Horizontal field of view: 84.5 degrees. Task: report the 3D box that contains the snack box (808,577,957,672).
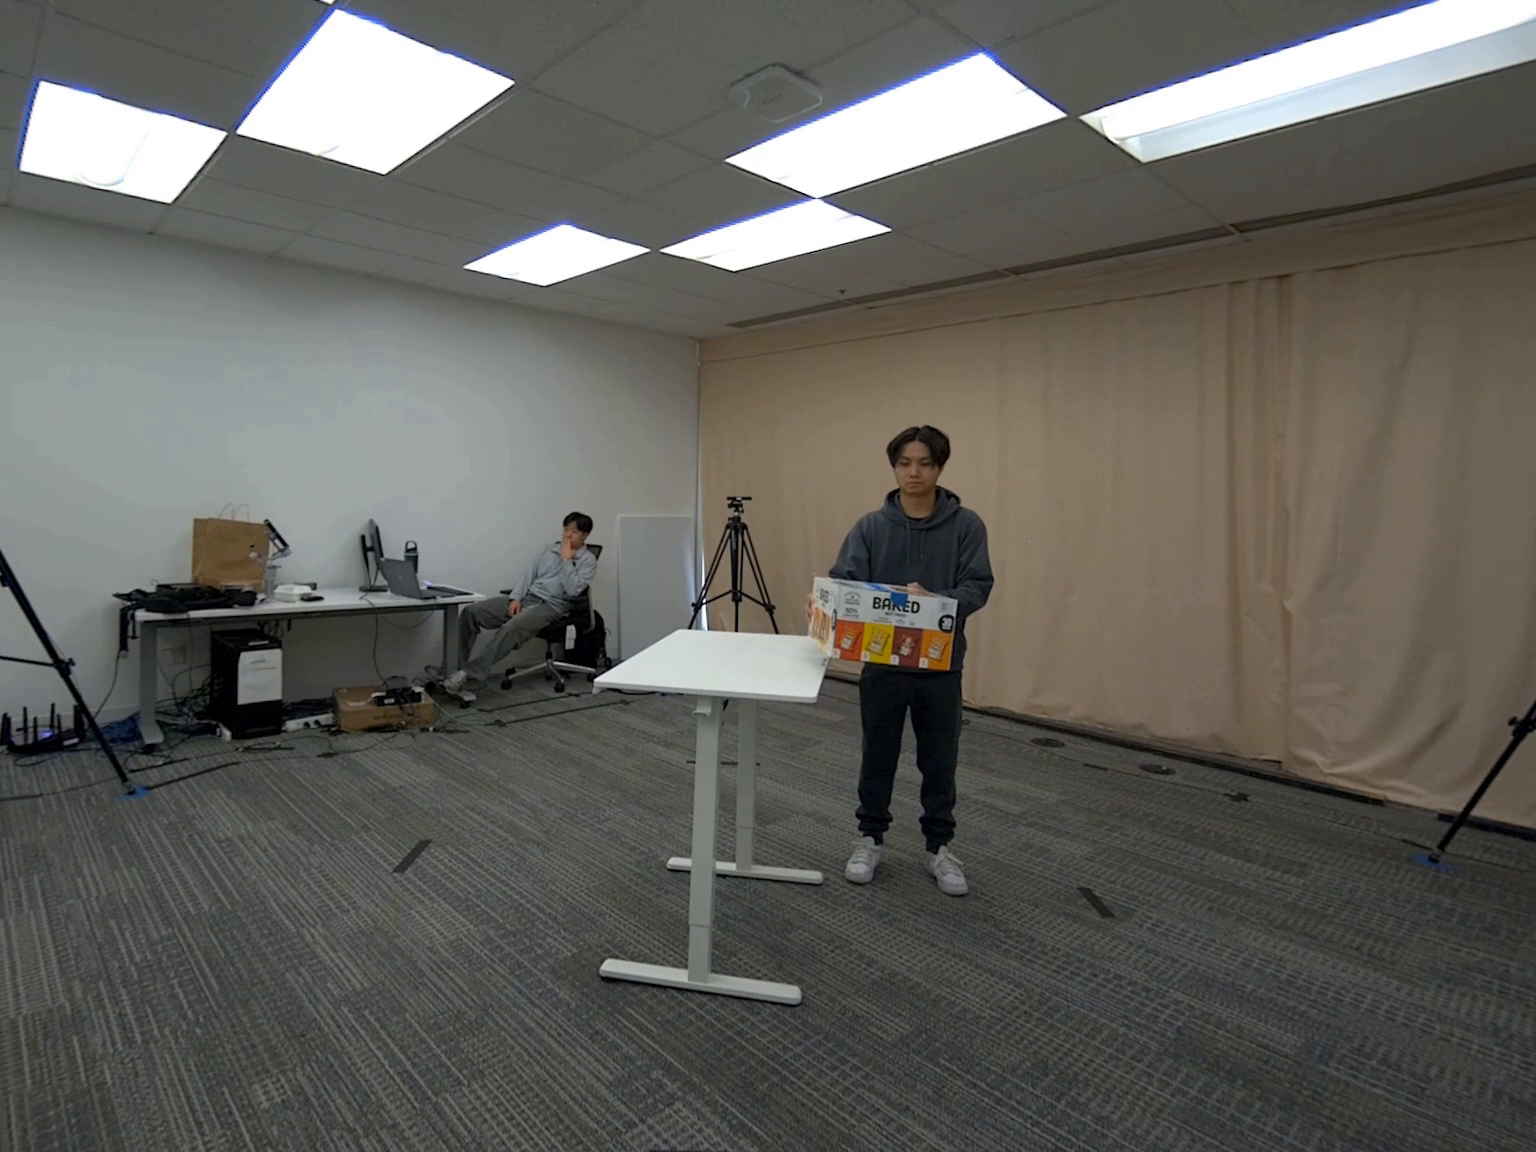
[{"bbox_3d":[0.322,0.137,2.542,0.339,0.205,0.407,7,2,-5],"label":"snack box"}]
